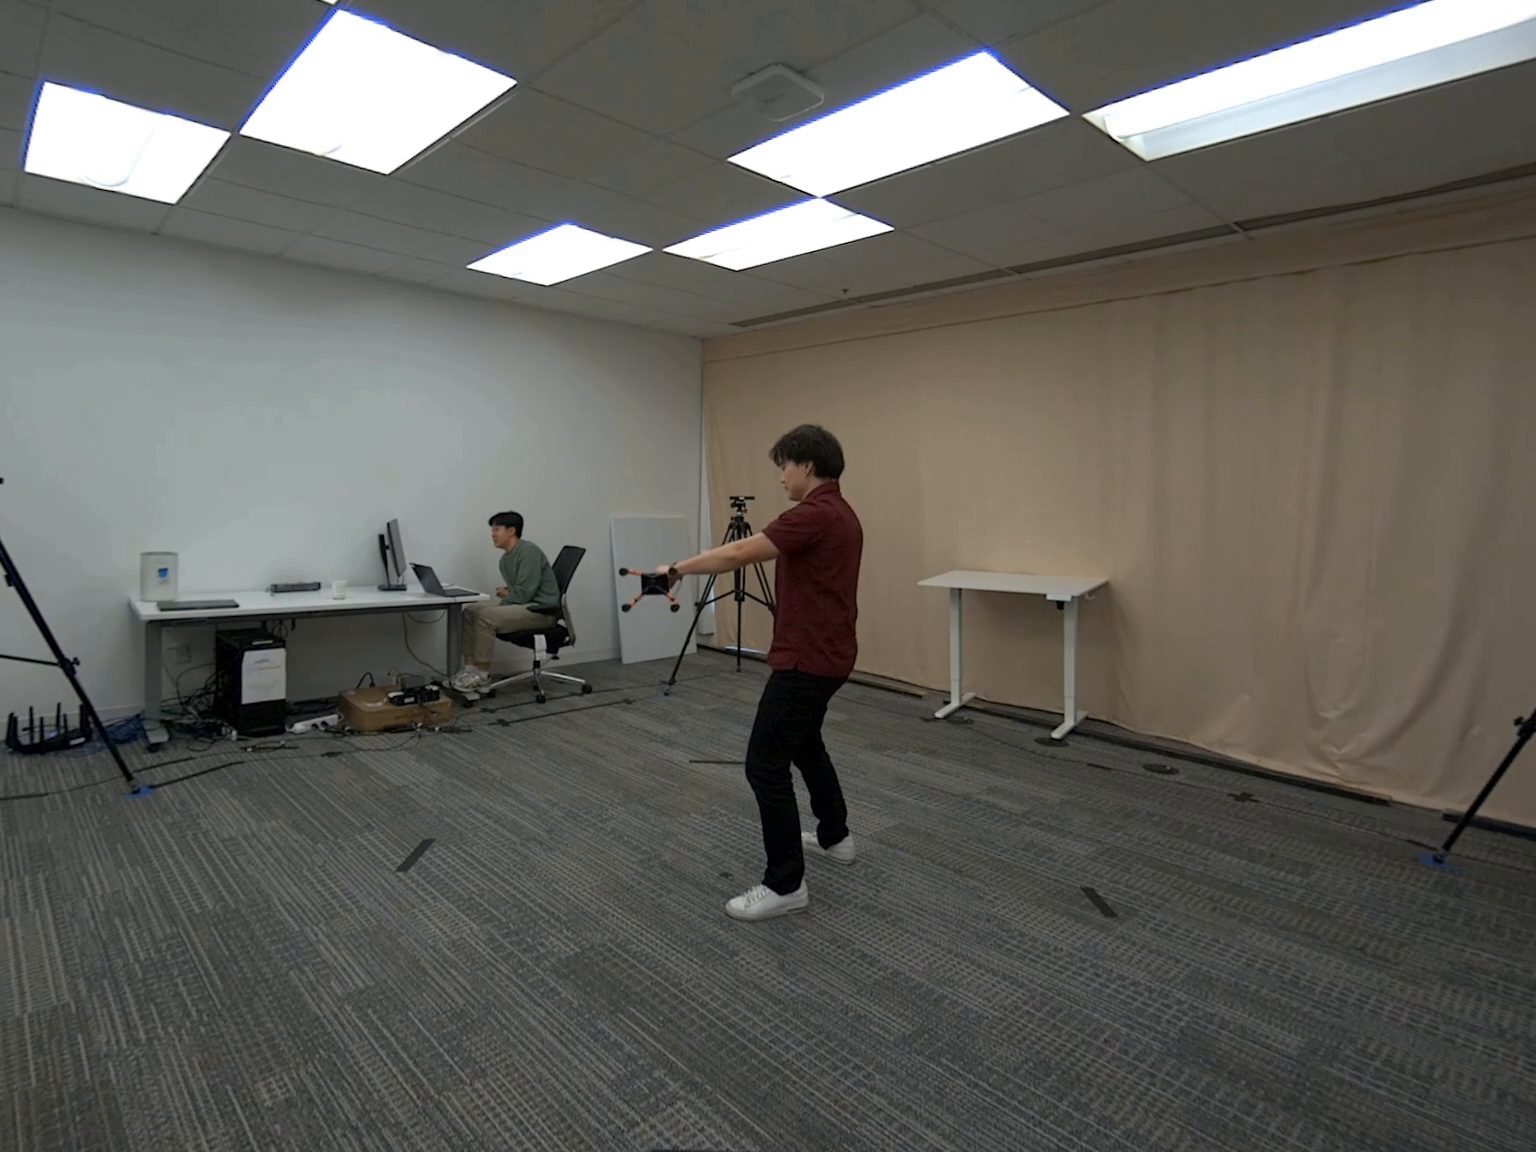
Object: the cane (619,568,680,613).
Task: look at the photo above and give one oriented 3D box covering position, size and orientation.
[{"bbox_3d":[-0.300,-0.019,3.244,0.209,0.151,0.901,1,9,15],"label":"cane"}]
